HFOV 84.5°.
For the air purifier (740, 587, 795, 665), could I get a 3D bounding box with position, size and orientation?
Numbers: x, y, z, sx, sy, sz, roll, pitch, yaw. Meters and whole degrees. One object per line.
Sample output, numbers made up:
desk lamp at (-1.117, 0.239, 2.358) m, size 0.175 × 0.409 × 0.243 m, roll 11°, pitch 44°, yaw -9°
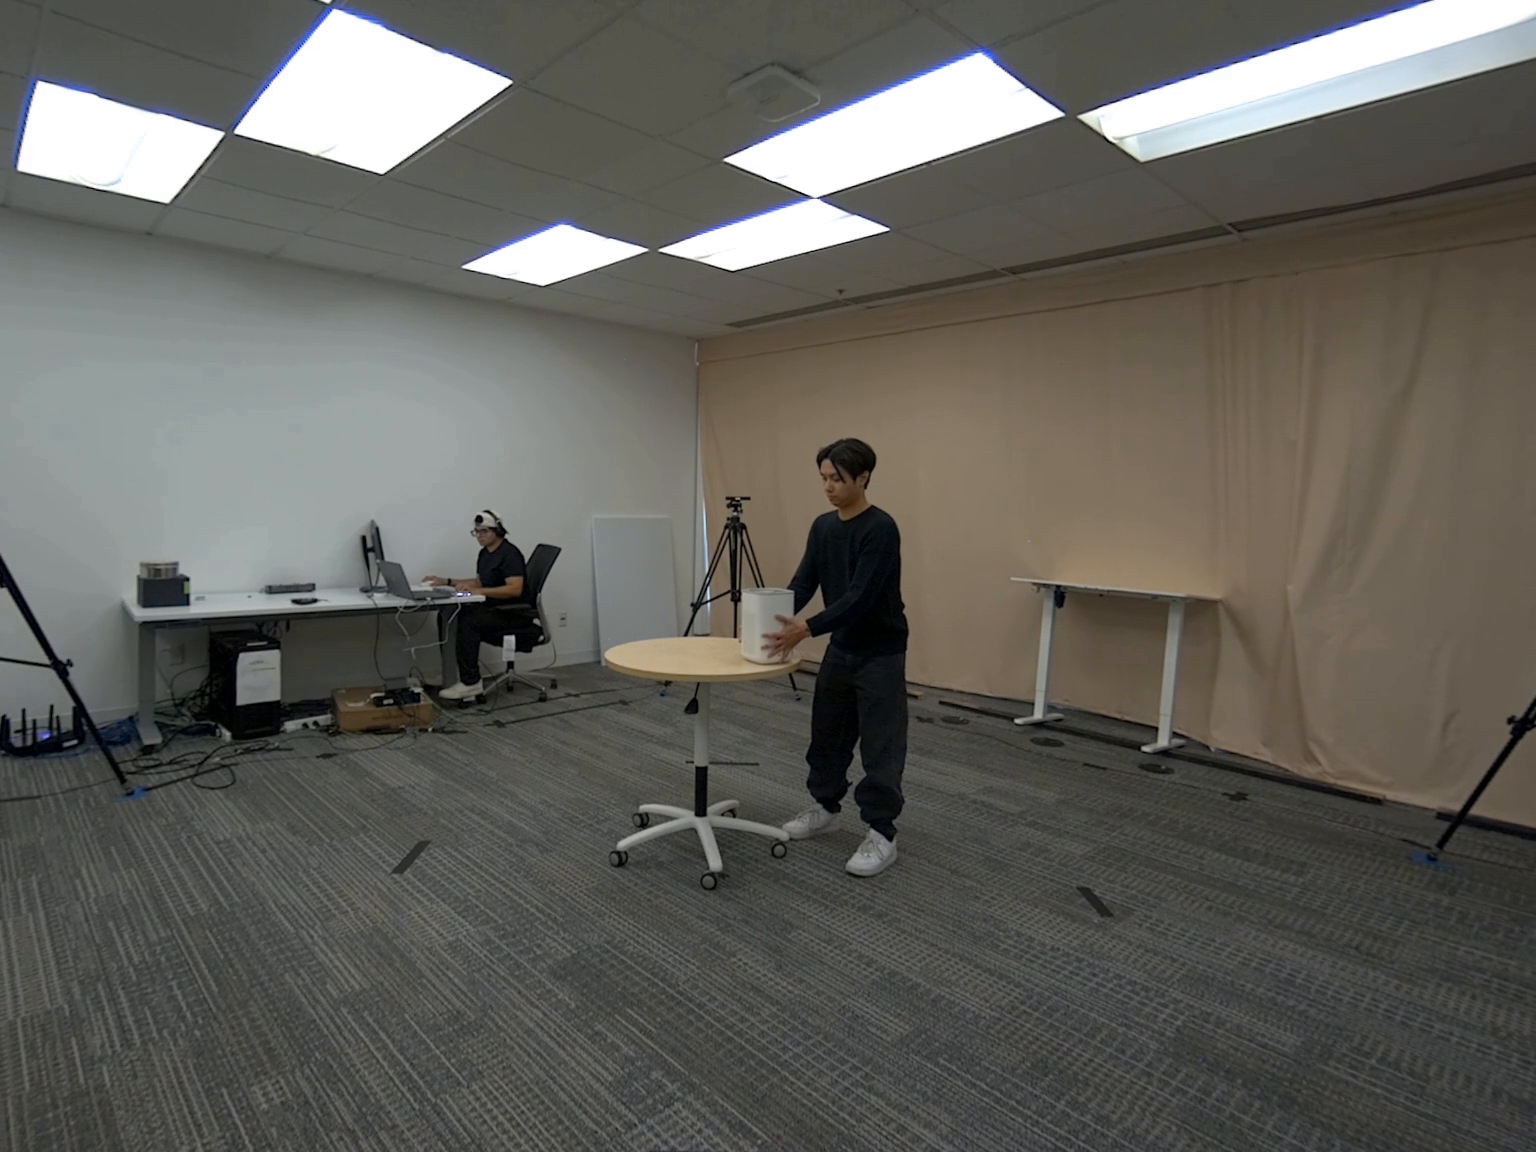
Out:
air purifier at (-0.009, 0.185, 3.166) m, size 0.167 × 0.264 × 0.175 m, roll -1°, pitch 5°, yaw -30°
